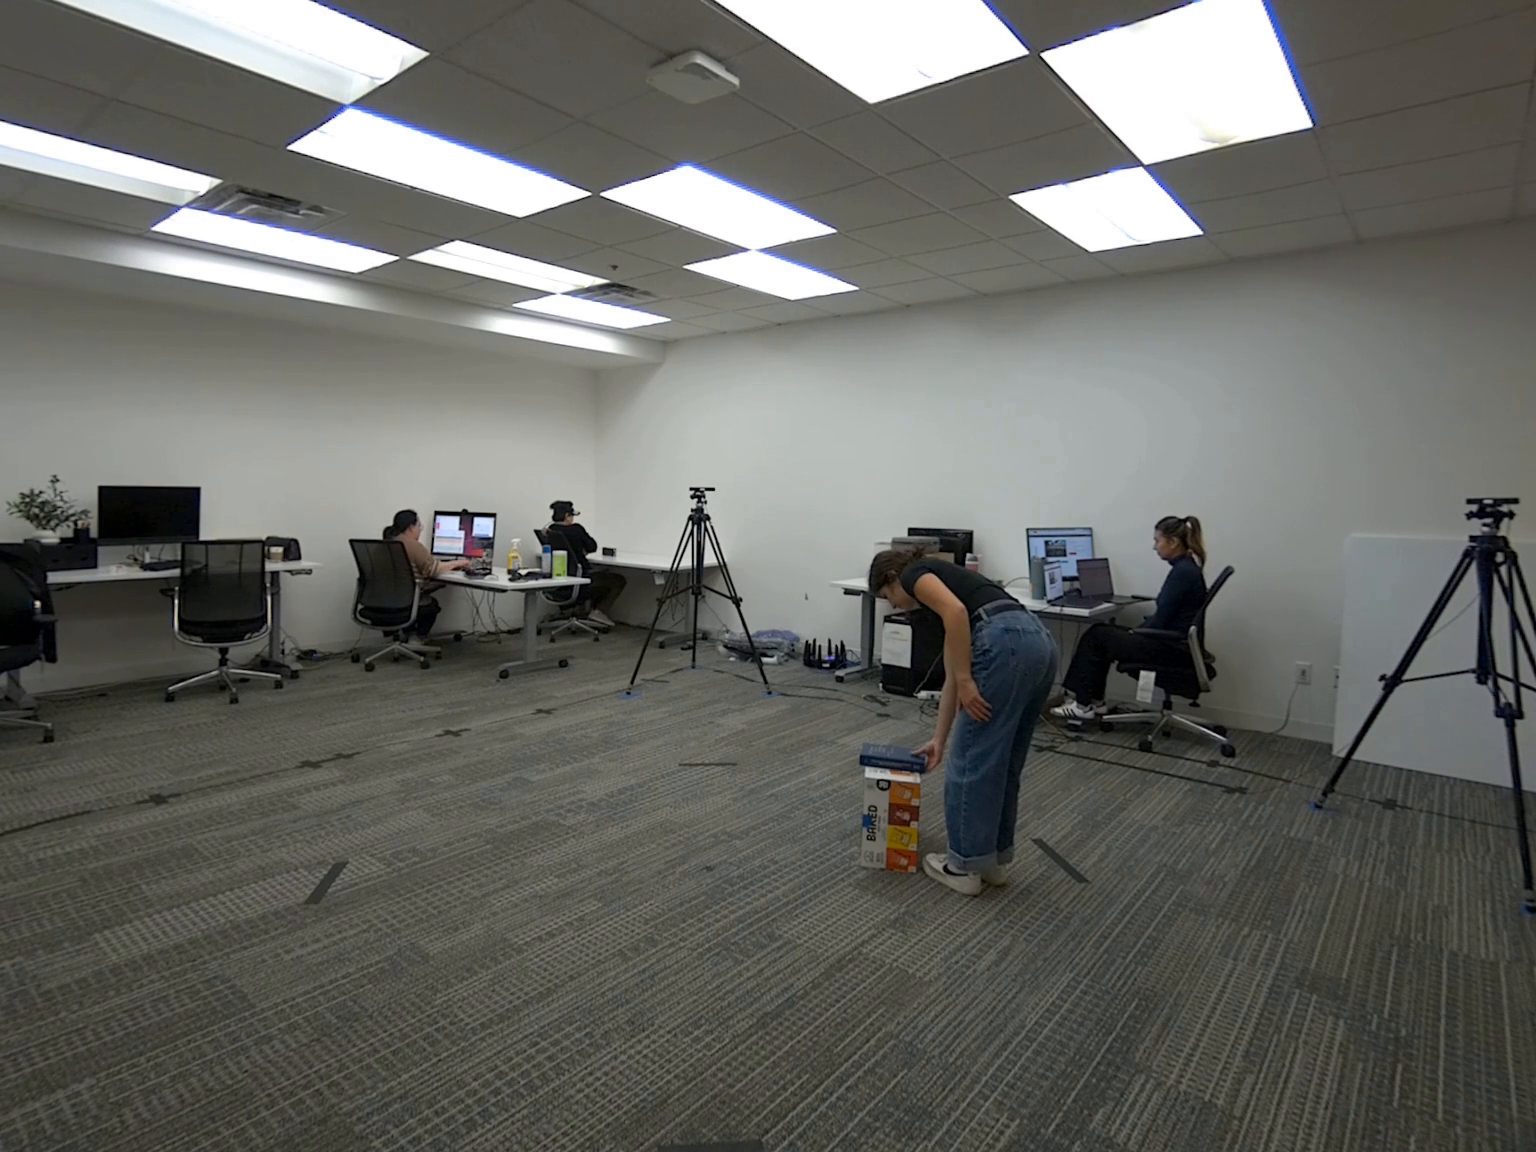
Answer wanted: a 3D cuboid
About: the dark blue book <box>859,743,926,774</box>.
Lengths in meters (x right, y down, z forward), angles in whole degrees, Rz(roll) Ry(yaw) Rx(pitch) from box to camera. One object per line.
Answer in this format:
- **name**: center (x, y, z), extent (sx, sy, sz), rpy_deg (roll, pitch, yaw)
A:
- **dark blue book**: center (0.475, 0.701, 3.306), extent (0.248, 0.045, 0.162), rpy_deg (4, 6, 12)
